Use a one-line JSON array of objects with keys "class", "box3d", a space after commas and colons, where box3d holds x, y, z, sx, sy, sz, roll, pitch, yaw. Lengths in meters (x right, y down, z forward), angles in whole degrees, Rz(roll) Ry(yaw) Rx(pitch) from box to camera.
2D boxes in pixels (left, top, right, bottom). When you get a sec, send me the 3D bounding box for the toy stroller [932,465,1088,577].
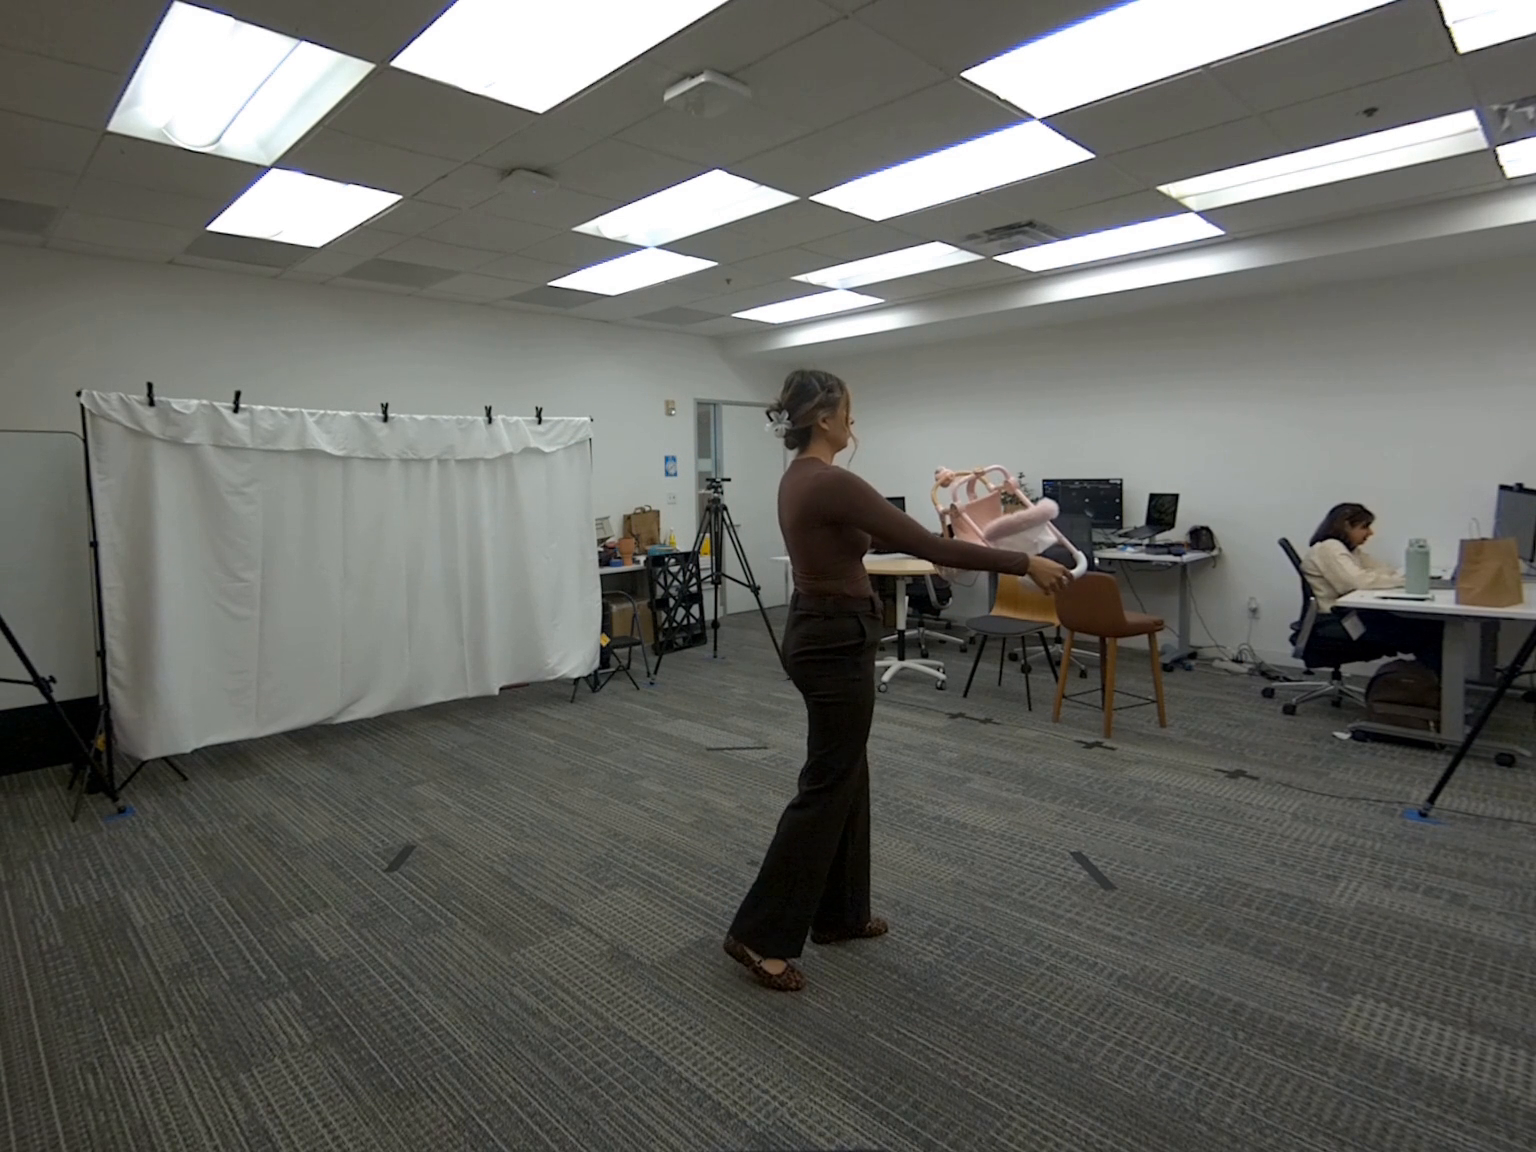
[{"class": "toy stroller", "box3d": [0.669, -0.160, 2.536, 0.279, 0.338, 0.545, -18, 11, -13]}]
